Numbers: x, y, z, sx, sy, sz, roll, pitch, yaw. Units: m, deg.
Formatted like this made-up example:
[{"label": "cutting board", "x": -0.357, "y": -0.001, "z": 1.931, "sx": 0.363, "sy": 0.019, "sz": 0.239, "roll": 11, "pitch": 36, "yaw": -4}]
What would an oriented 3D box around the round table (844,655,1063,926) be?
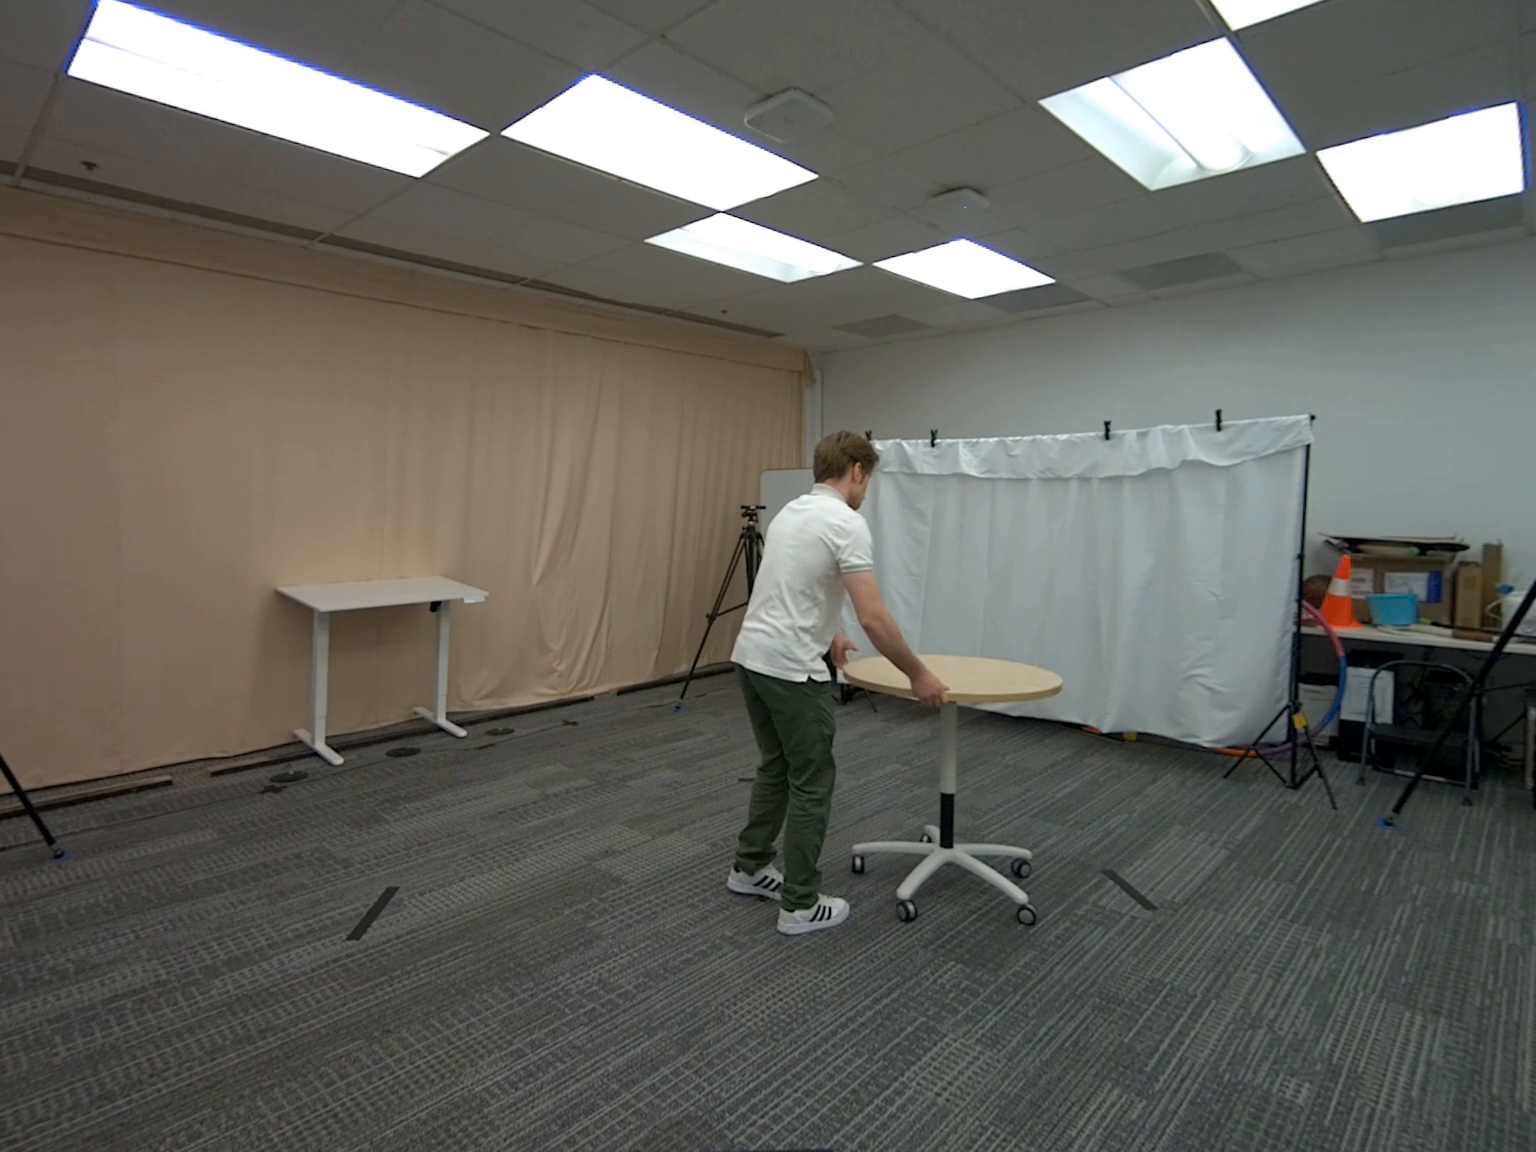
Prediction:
[{"label": "round table", "x": 0.653, "y": 0.742, "z": 3.084, "sx": 0.763, "sy": 0.792, "sz": 0.766, "roll": 0, "pitch": 3, "yaw": -2}]
